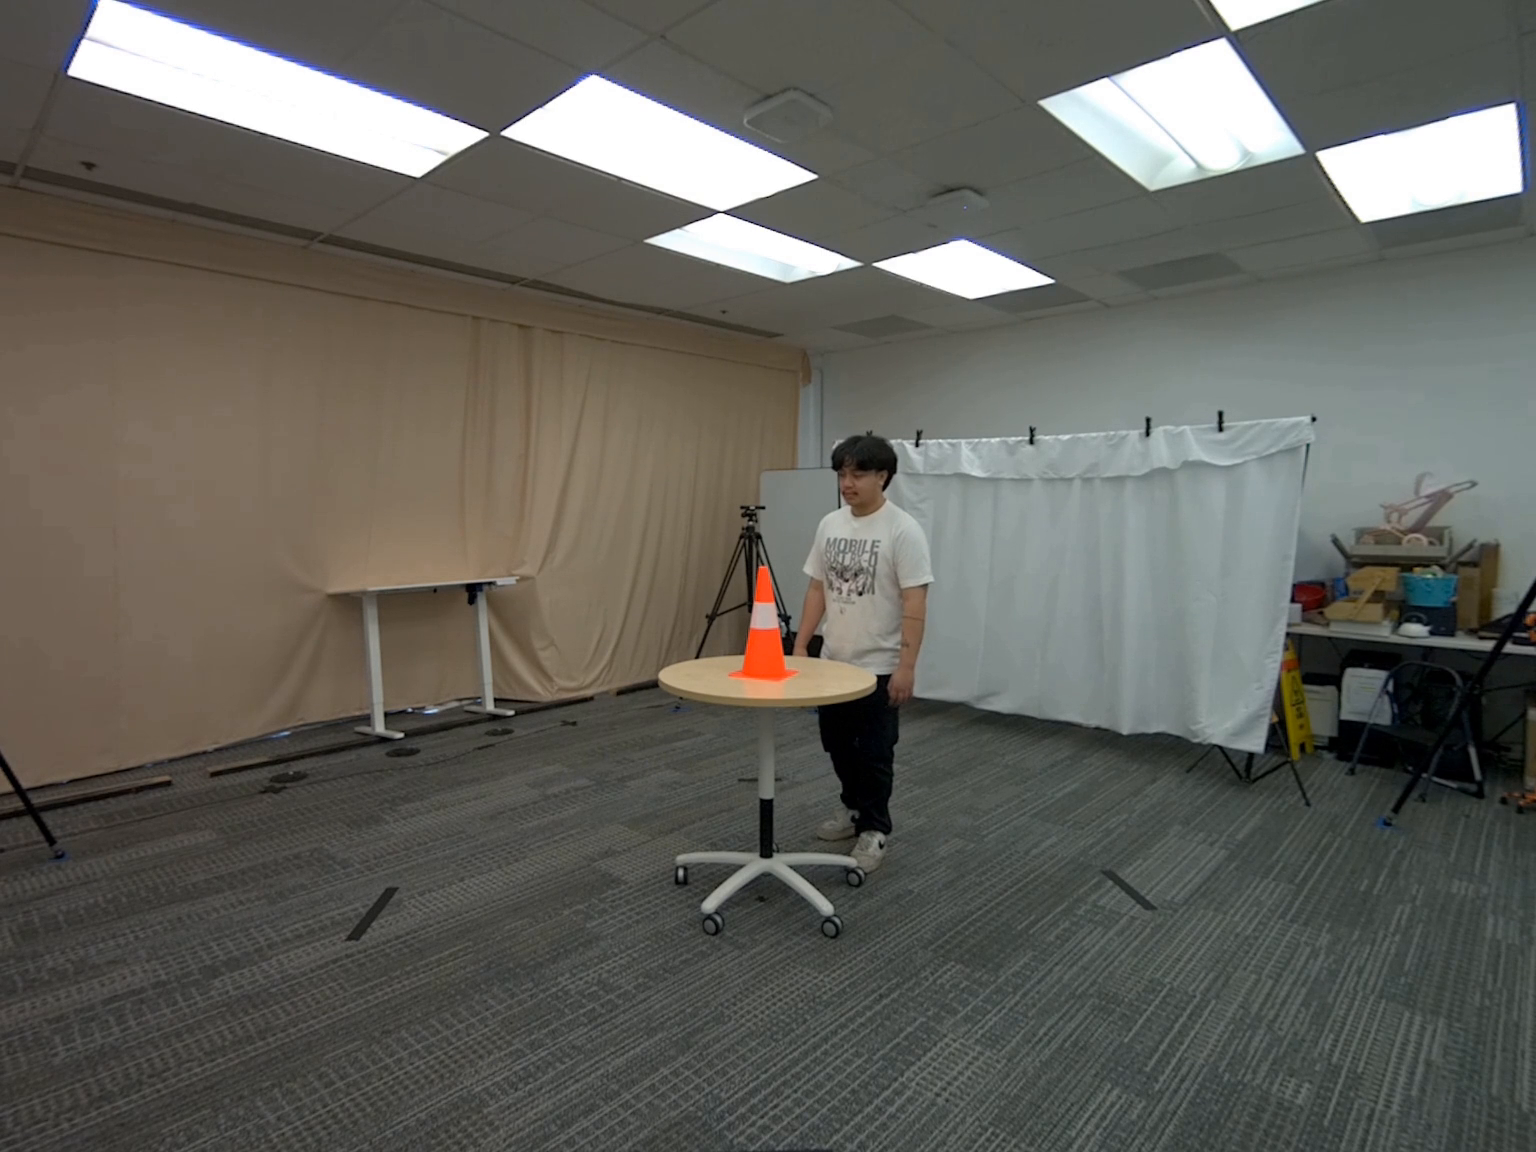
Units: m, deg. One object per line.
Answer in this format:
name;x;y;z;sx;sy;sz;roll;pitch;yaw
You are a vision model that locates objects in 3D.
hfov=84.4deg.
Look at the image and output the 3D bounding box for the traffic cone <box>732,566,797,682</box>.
traffic cone;-0.014;0.161;2.978;0.210;0.383;0.198;1;2;24
